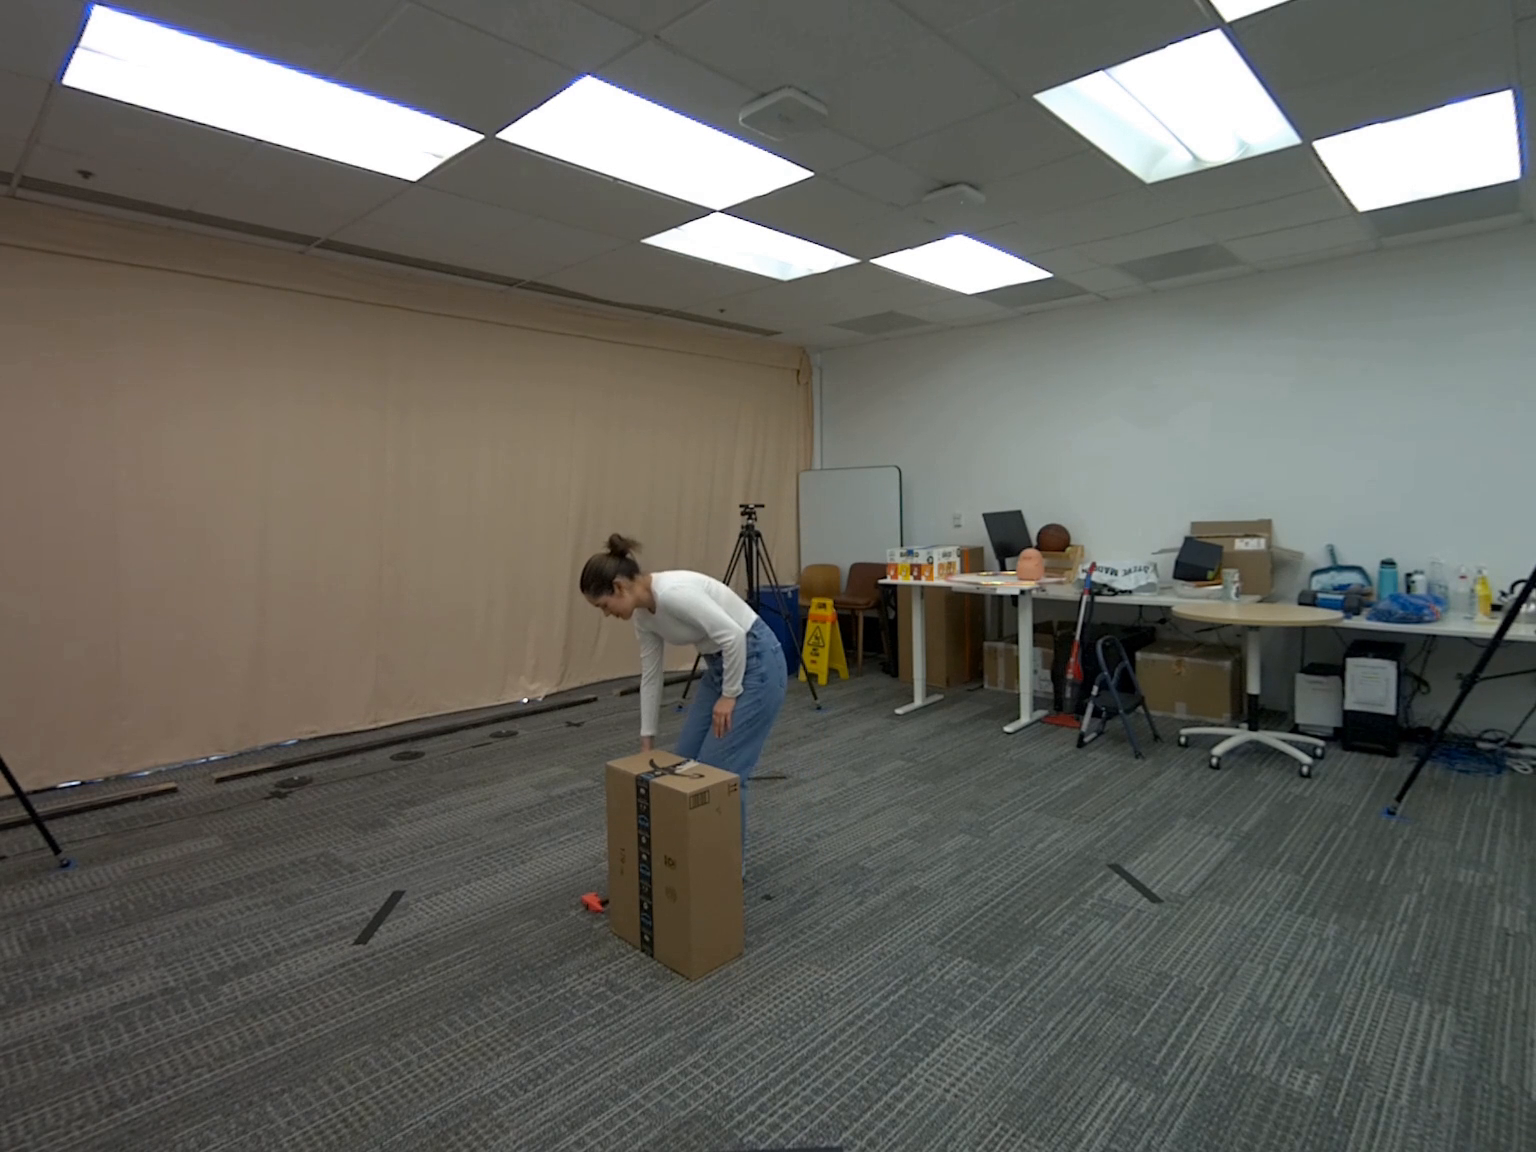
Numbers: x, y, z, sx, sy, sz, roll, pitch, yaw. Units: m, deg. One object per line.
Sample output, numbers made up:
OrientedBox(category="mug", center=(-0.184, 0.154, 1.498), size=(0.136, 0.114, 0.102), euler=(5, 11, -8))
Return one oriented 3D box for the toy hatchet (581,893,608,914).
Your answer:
OrientedBox(category="toy hatchet", center=(-0.563, 1.140, 3.027), size=(0.135, 0.029, 0.263), euler=(0, 4, 30))
